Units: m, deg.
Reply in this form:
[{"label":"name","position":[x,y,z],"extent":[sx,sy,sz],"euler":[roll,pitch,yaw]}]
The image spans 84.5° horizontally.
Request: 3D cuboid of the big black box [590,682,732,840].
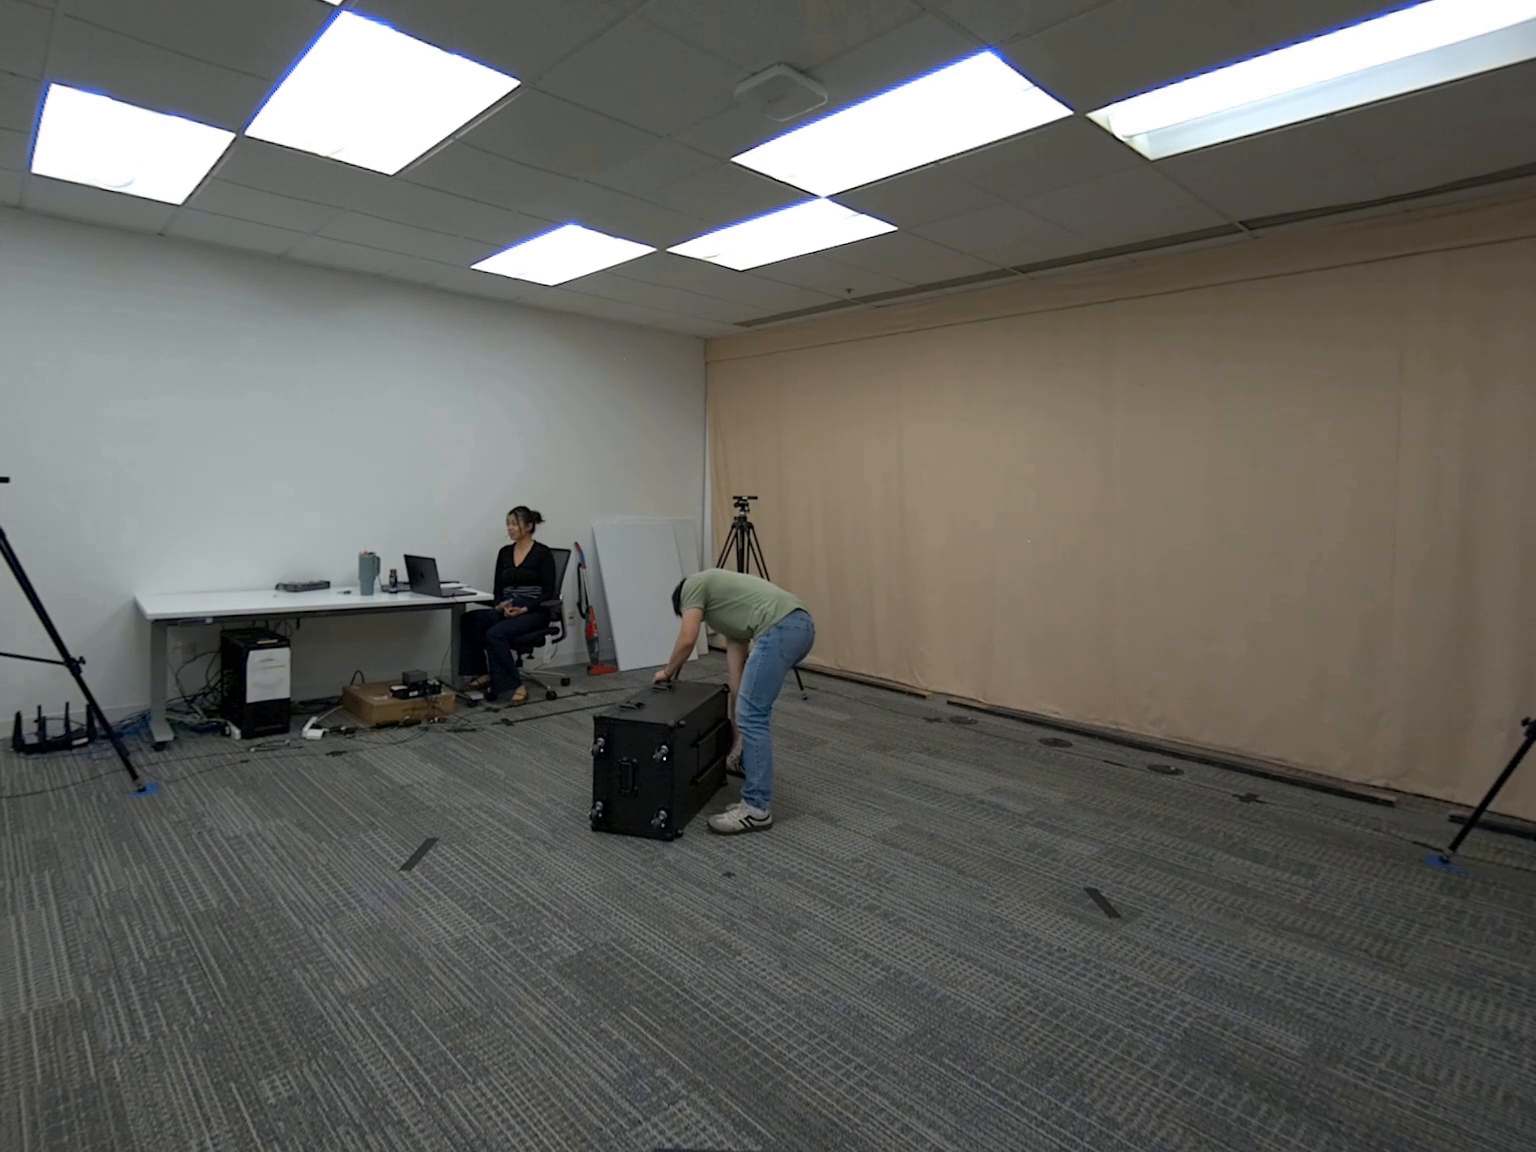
[{"label":"big black box","position":[-0.449,0.781,3.810],"extent":[0.401,0.520,0.854],"euler":[2,4,13]}]
